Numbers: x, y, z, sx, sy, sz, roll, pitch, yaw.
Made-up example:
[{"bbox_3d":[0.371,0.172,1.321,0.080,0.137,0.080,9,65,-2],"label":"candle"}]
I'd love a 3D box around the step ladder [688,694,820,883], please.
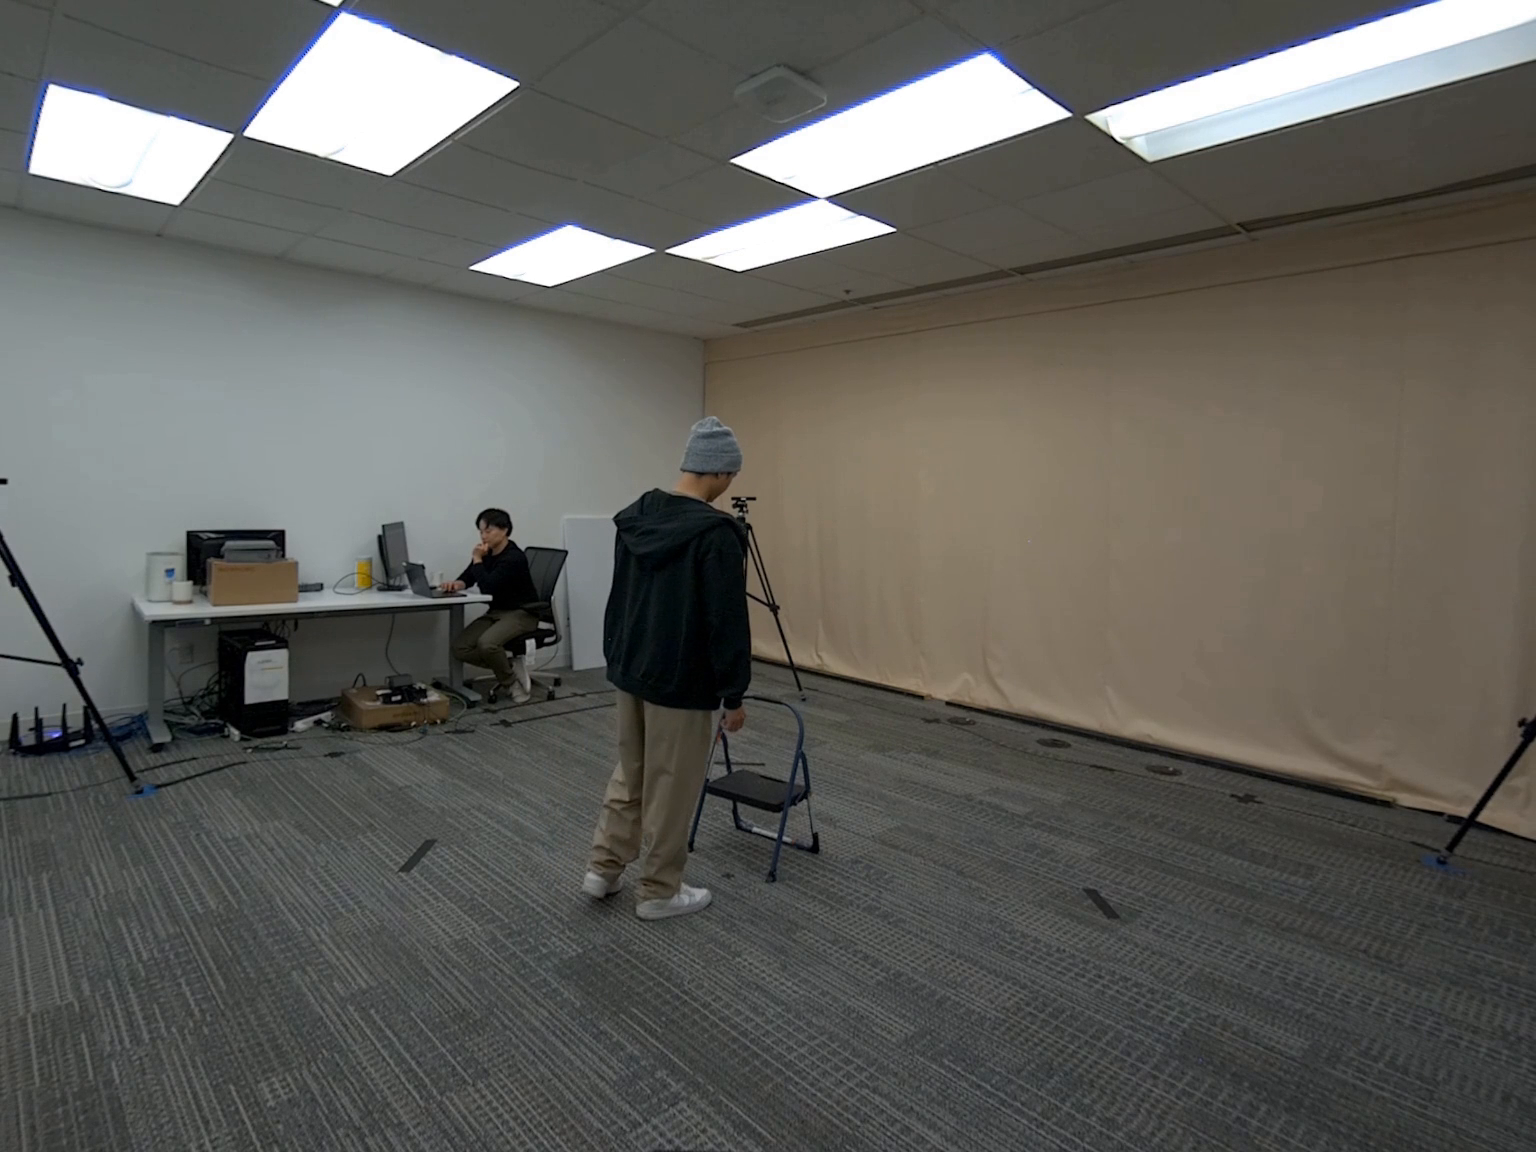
[{"bbox_3d":[-0.056,0.788,3.305,0.441,0.604,0.342,4,4,36],"label":"step ladder"}]
